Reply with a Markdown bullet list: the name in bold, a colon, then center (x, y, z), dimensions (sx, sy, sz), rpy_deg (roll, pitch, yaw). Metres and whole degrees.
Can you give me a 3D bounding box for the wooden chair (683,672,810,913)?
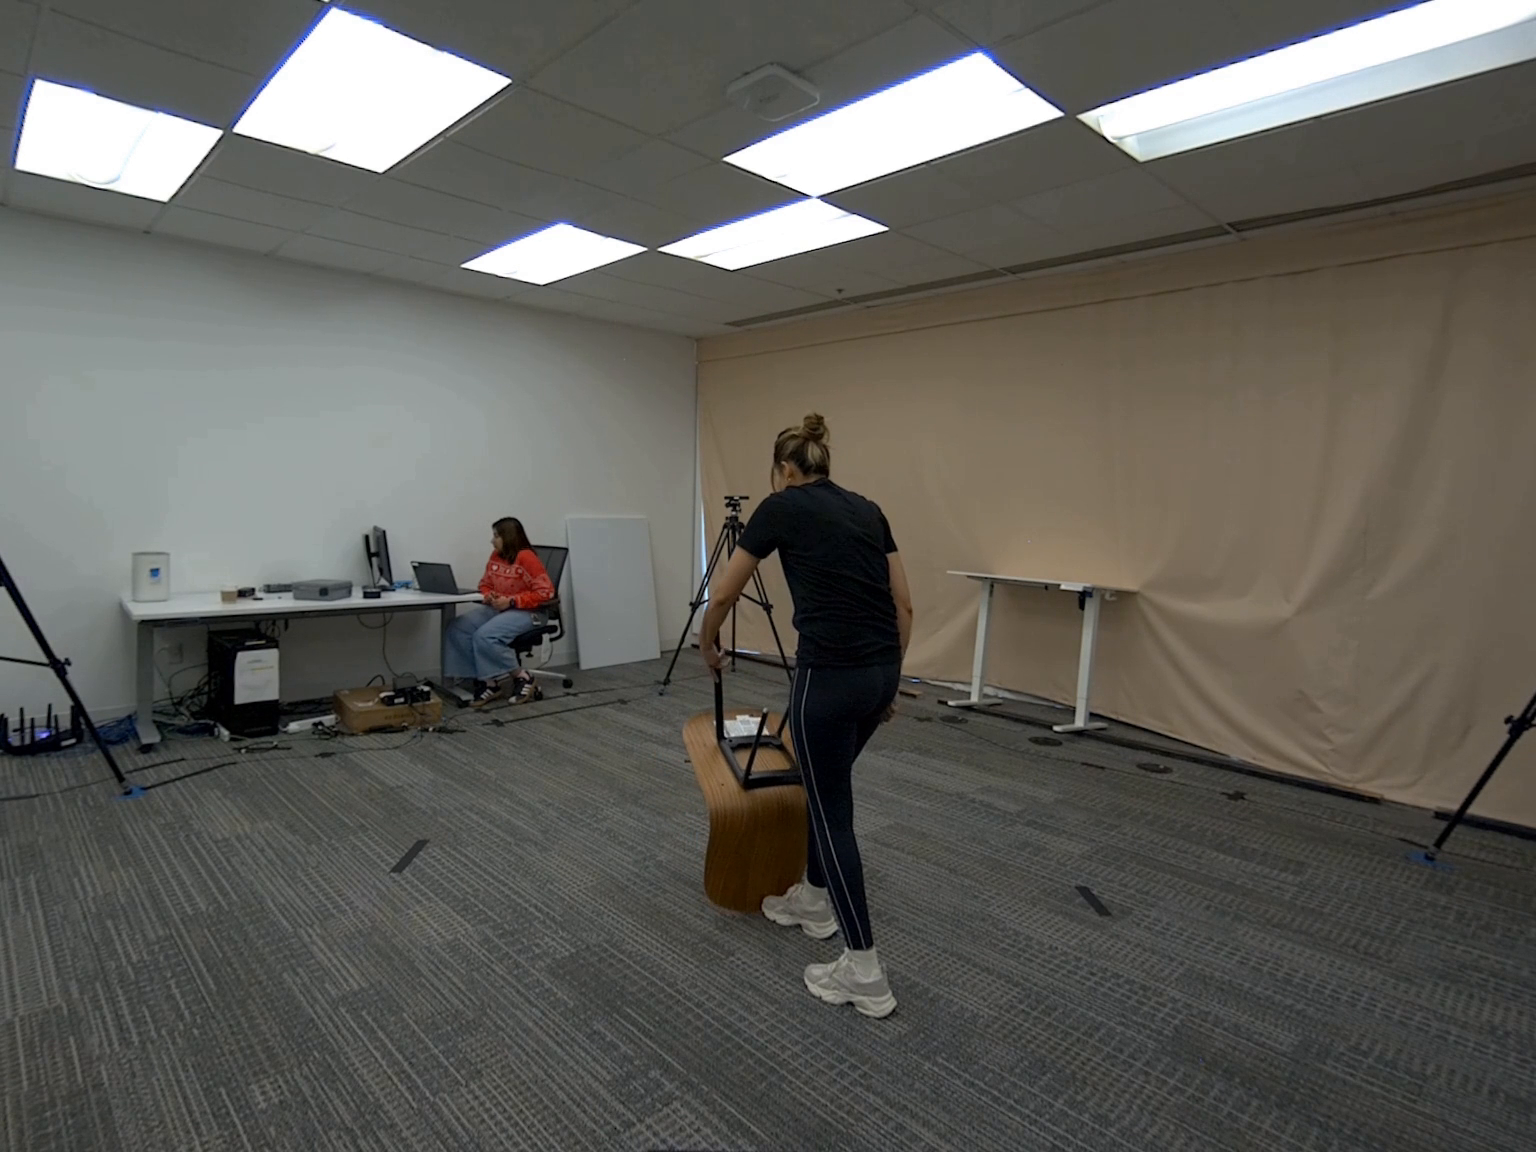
- **wooden chair**: center (-0.027, 0.629, 2.880), dimensions (0.469, 0.867, 0.539), rpy_deg (2, 27, -27)
